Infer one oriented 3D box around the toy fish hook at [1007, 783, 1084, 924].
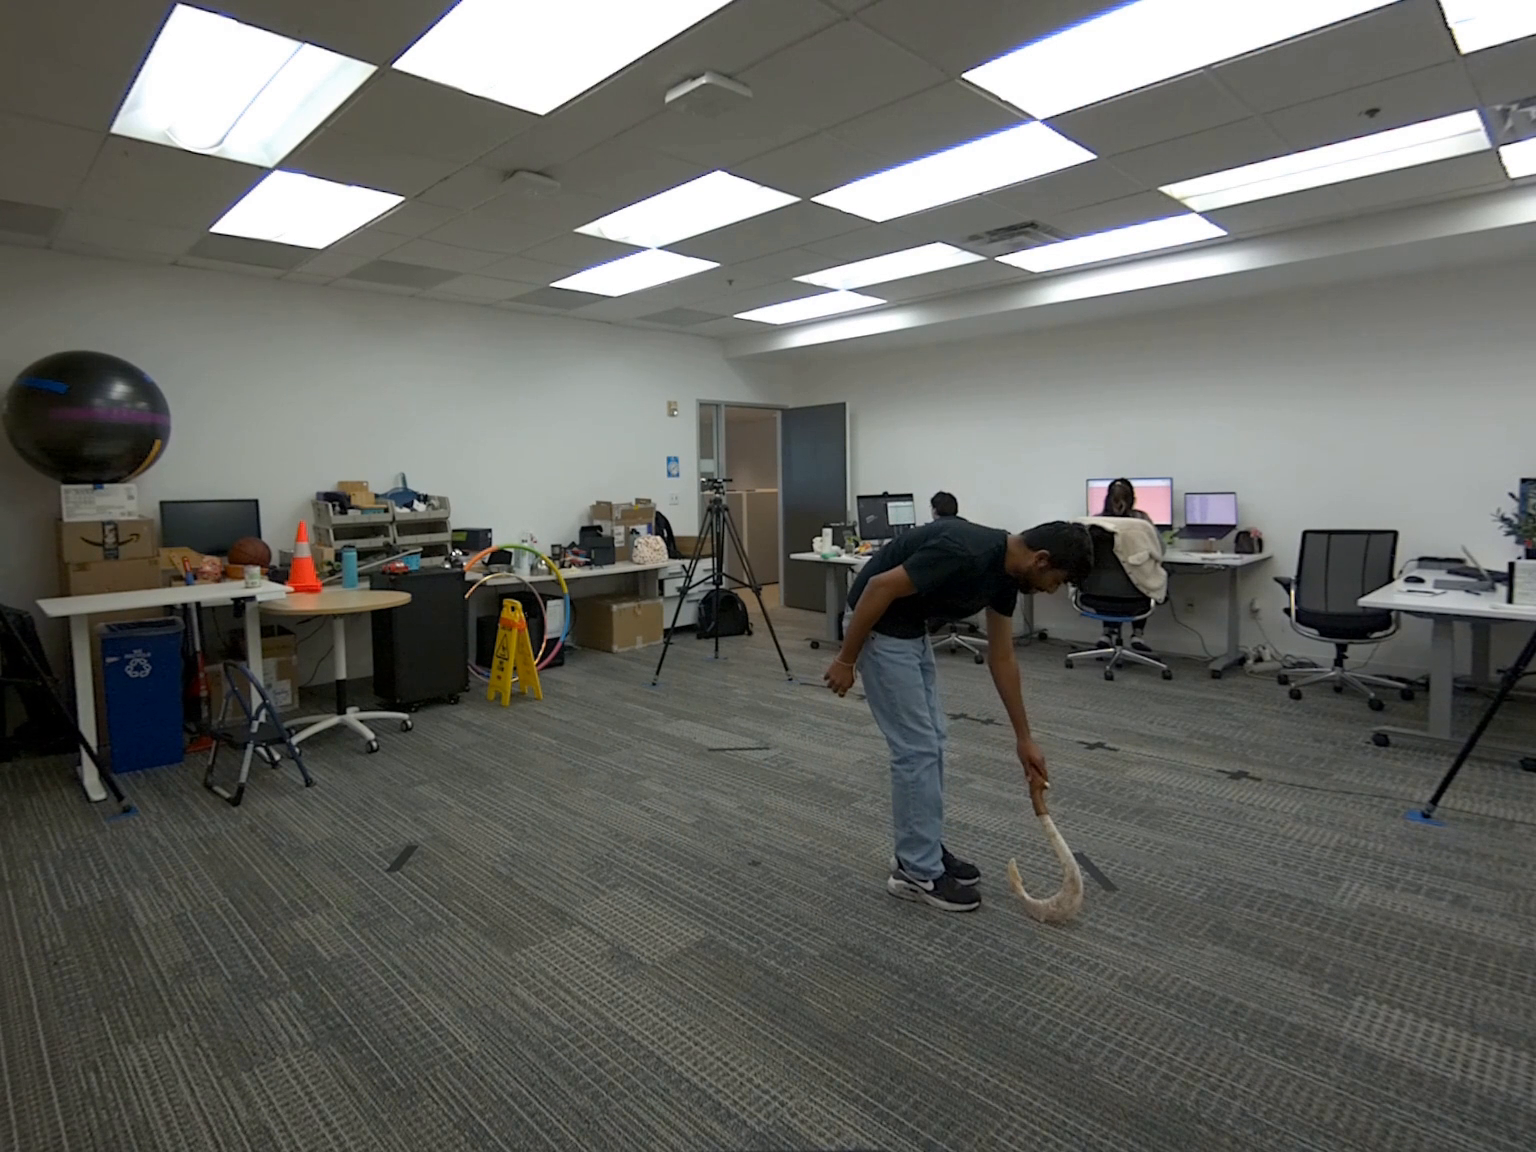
[{"bbox_3d":[0.862,0.844,2.761,0.227,0.520,0.046,-22,-34,23],"label":"toy fish hook"}]
